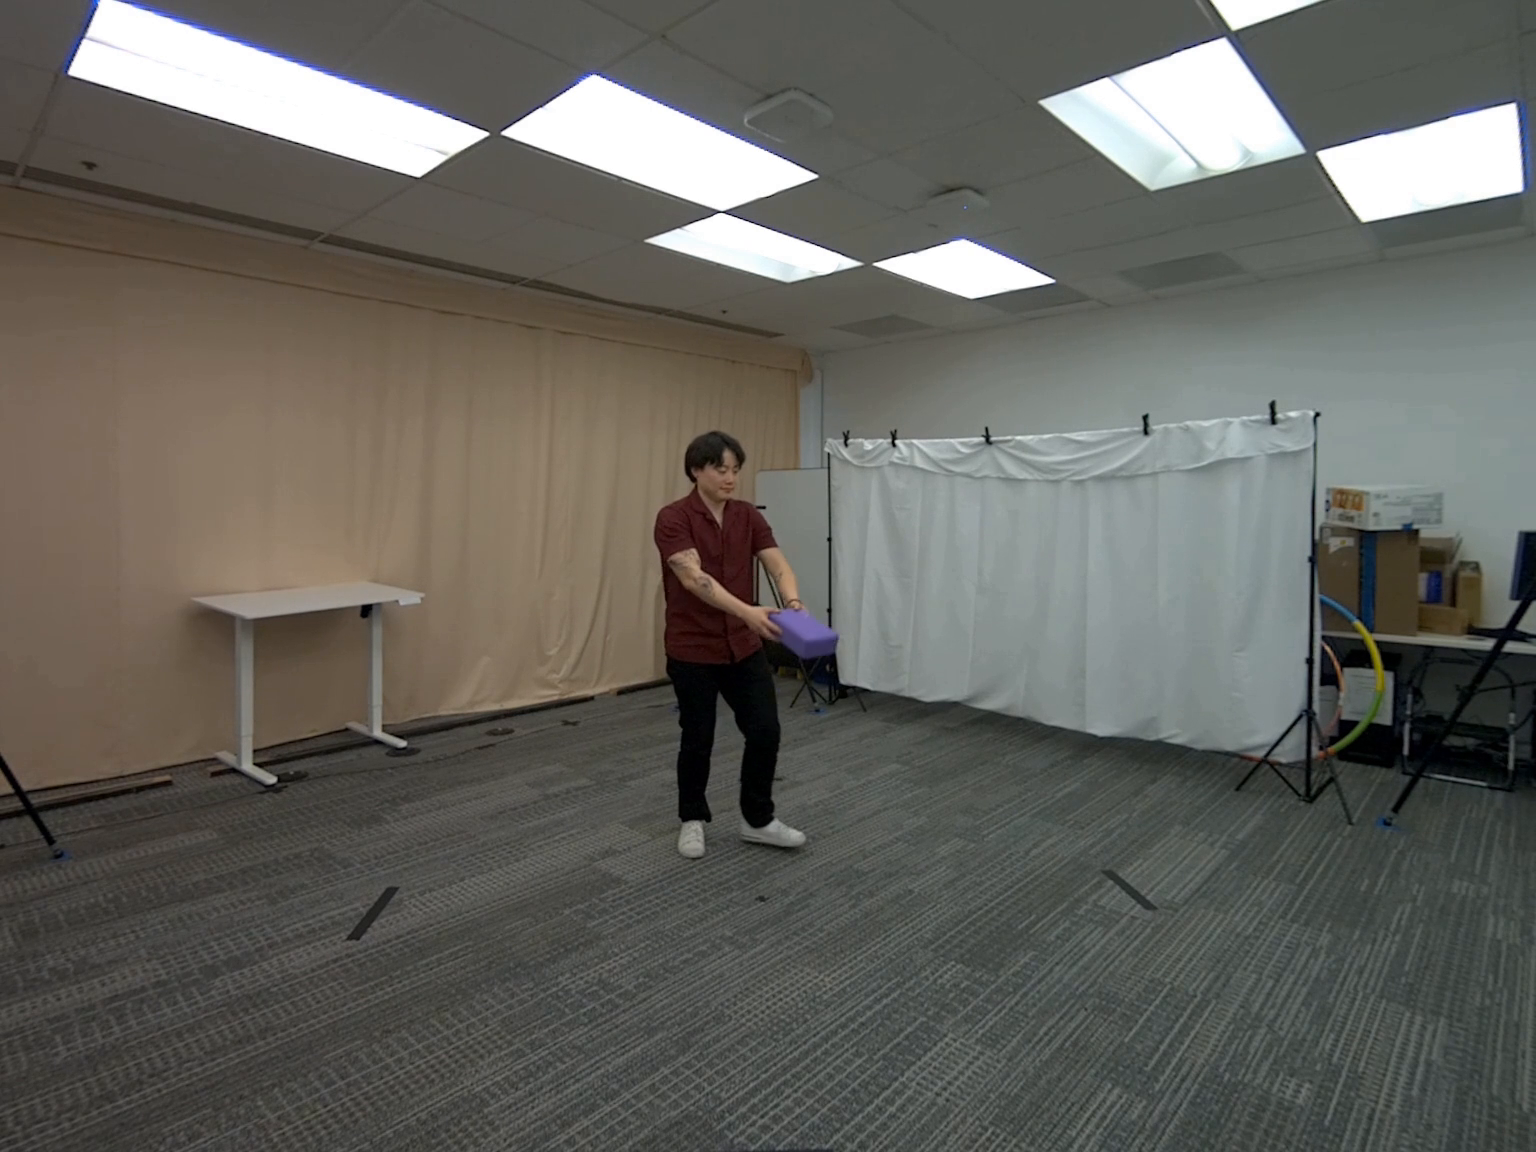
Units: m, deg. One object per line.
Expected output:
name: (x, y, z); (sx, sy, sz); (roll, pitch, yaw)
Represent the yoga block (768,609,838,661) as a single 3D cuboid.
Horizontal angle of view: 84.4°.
yoga block: (0.124, 0.192, 2.940); (0.145, 0.076, 0.237); (-2, 25, -31)
